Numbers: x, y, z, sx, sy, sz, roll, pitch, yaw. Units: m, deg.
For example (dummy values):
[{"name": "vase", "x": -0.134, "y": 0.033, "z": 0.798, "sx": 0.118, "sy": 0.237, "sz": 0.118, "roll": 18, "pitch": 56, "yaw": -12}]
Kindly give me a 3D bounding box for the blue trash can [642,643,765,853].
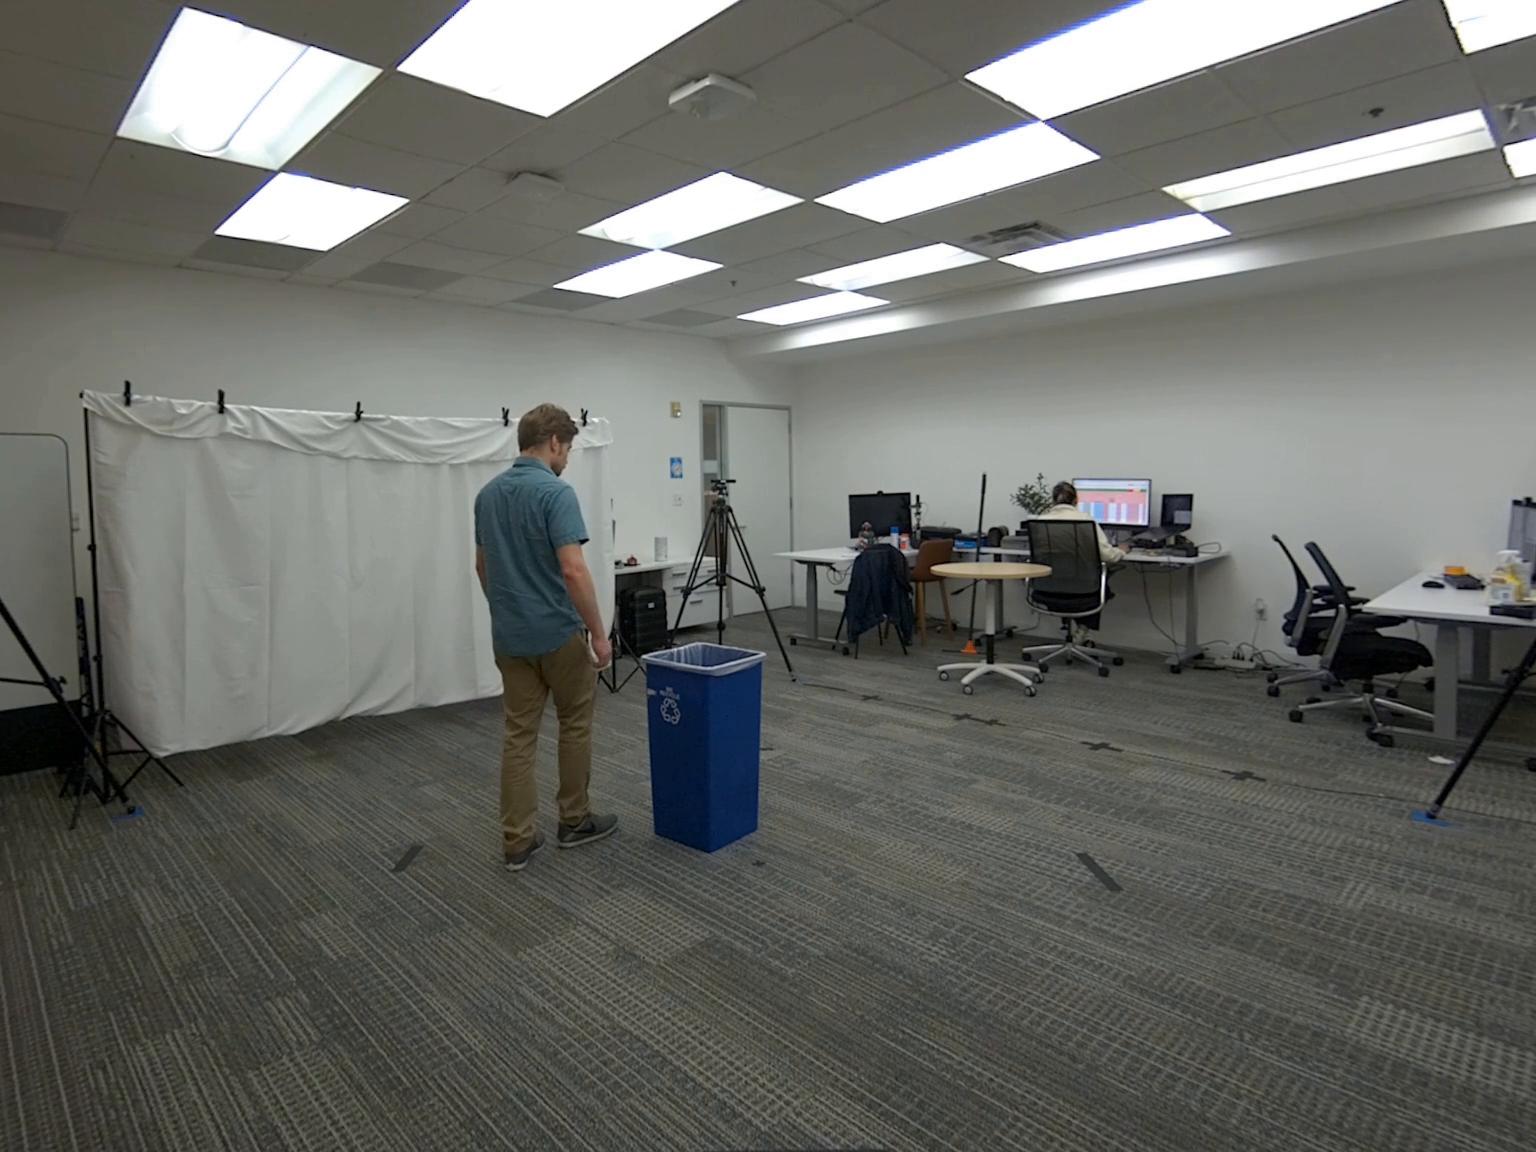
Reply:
[{"name": "blue trash can", "x": -0.239, "y": 0.662, "z": 3.381, "sx": 0.385, "sy": 0.711, "sz": 0.368, "roll": 3, "pitch": 6, "yaw": 39}]
